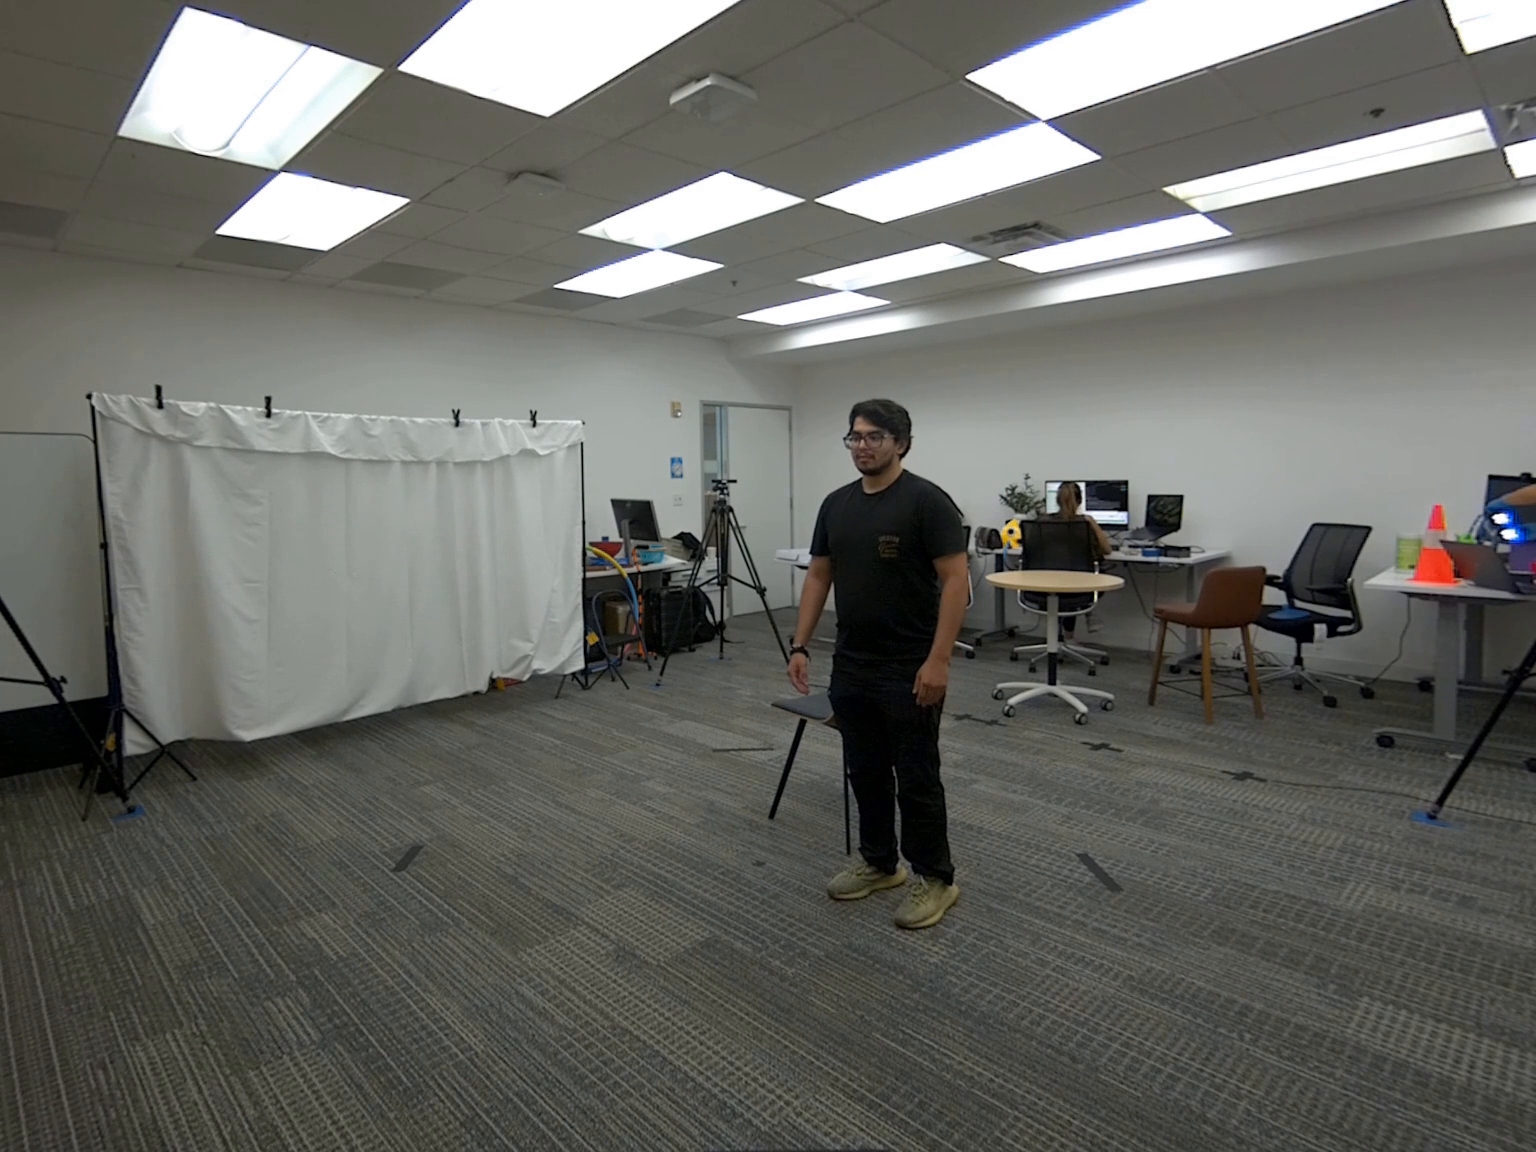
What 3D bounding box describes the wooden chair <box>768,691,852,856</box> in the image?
[{"bbox_3d":[0.313,0.576,3.455,0.465,0.872,0.540,-4,9,-40],"label":"wooden chair"}]
